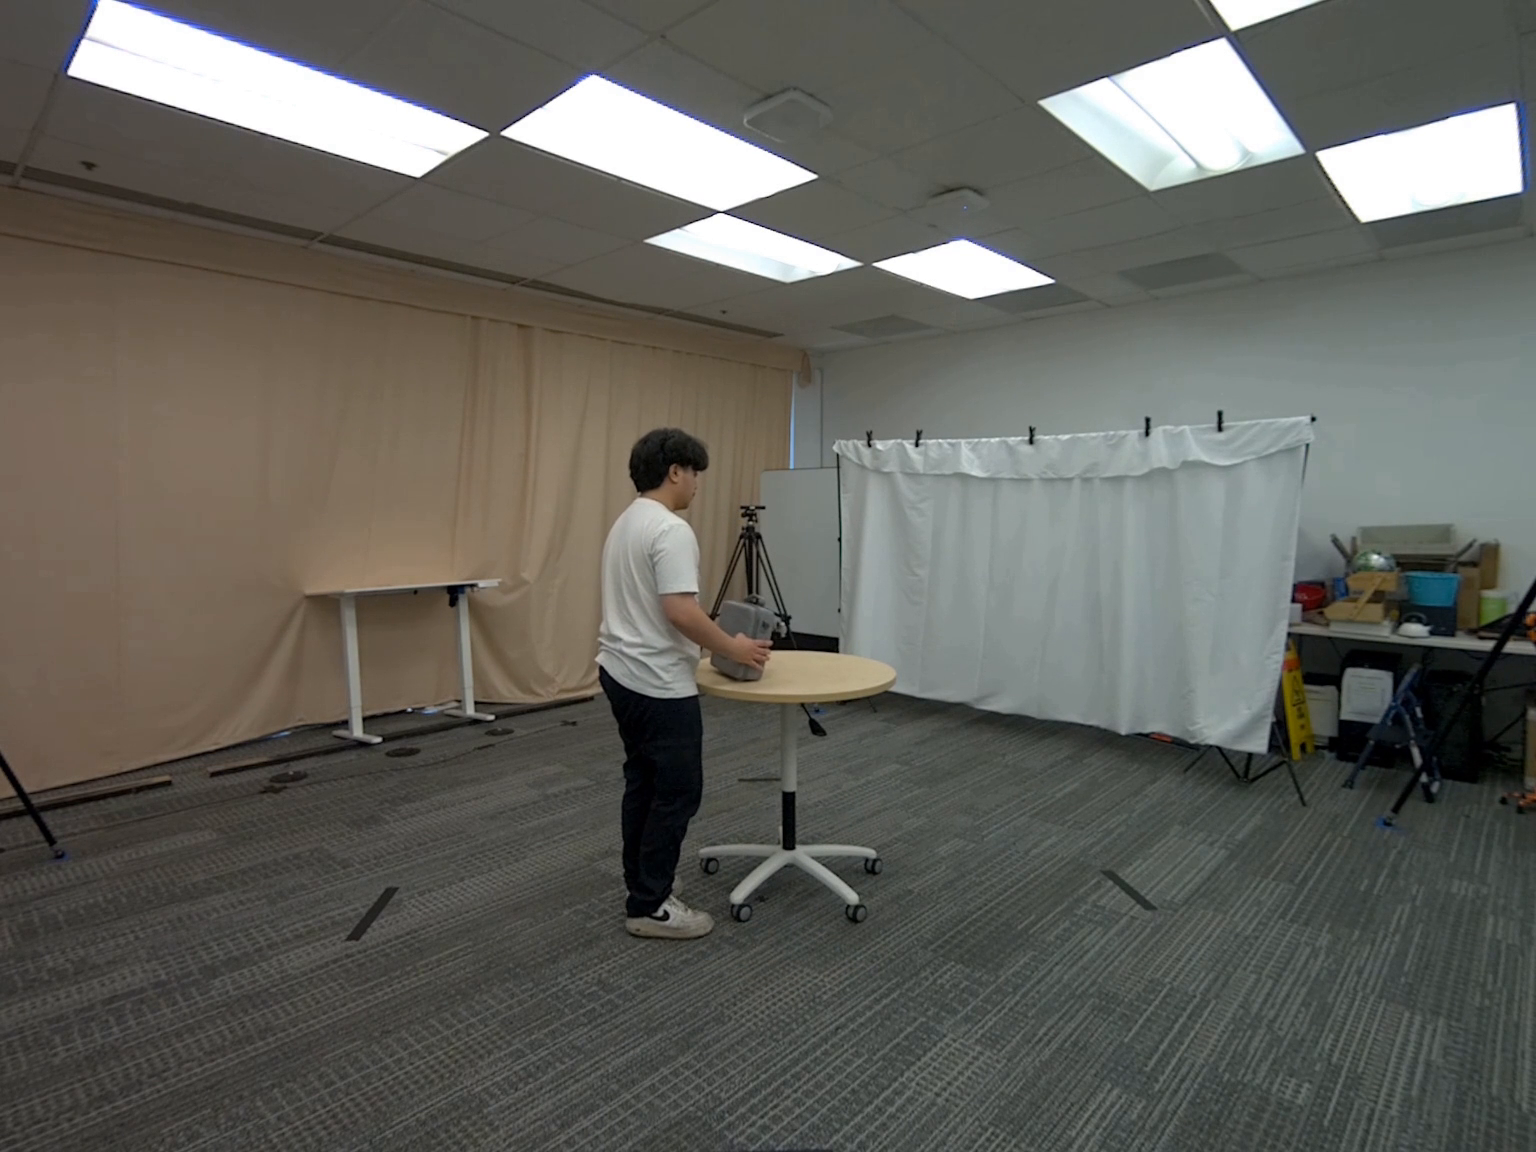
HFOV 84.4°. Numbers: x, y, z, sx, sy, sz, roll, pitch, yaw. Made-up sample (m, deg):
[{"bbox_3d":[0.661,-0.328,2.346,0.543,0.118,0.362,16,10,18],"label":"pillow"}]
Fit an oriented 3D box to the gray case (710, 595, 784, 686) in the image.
[{"bbox_3d":[-0.079,0.217,2.945,0.101,0.260,0.264,12,0,-26],"label":"gray case"}]
